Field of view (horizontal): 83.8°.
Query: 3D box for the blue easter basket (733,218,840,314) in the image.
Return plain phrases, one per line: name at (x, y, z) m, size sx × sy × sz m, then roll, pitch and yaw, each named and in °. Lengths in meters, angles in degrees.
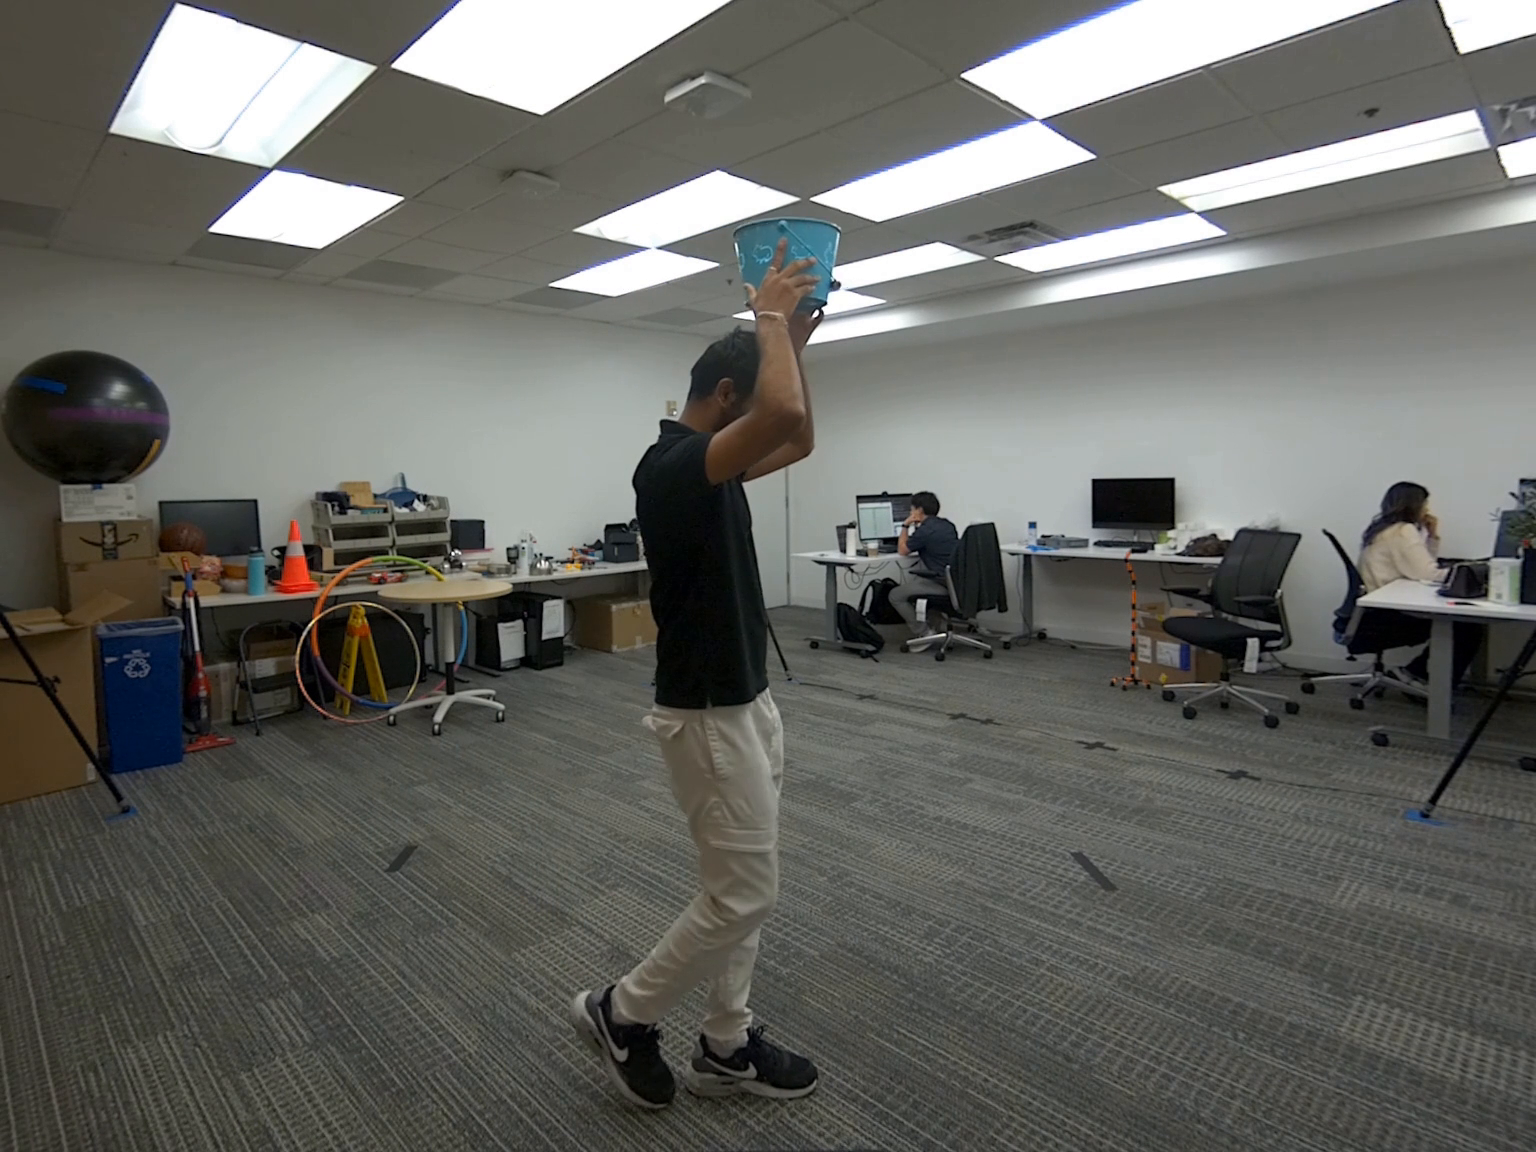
blue easter basket at (0.040, -0.664, 1.832) m, size 0.243 × 0.155 × 0.245 m, roll -4°, pitch 7°, yaw -1°
